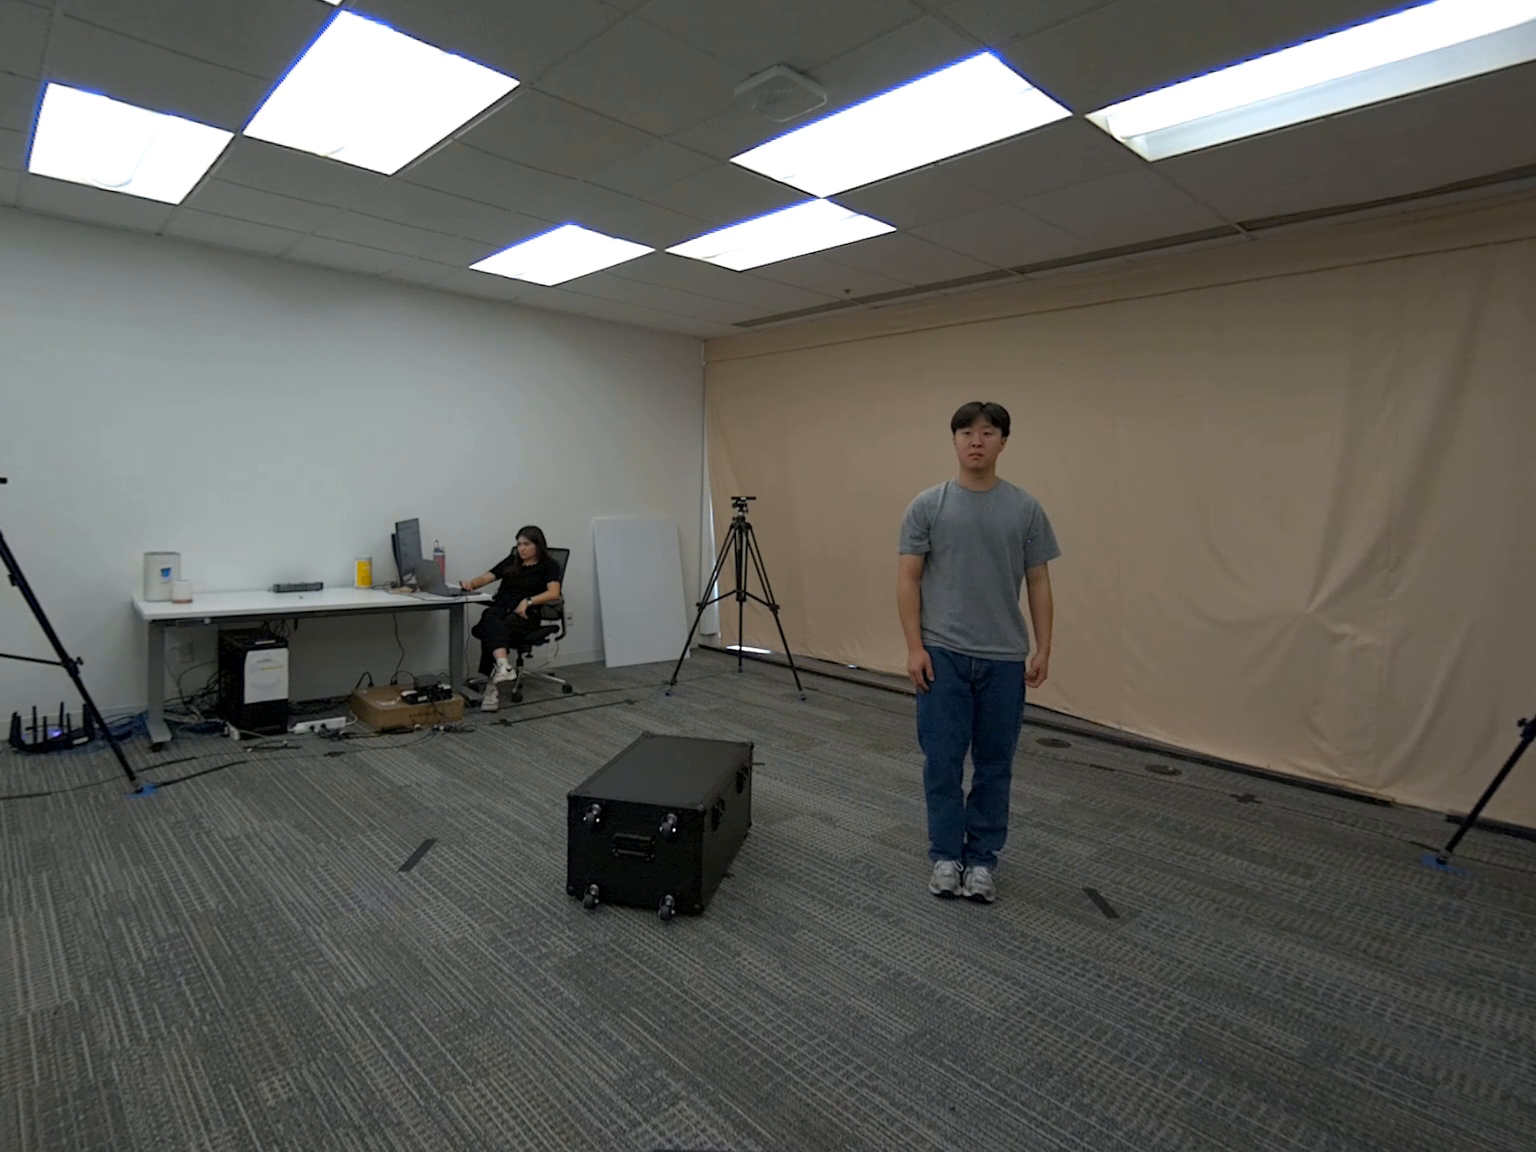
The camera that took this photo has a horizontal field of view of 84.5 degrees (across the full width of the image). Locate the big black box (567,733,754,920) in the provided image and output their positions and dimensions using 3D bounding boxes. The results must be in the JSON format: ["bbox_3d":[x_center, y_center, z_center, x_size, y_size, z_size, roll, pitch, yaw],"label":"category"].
[{"bbox_3d":[-0.387,0.902,3.153,0.527,0.395,0.855,3,5,12],"label":"big black box"}]
